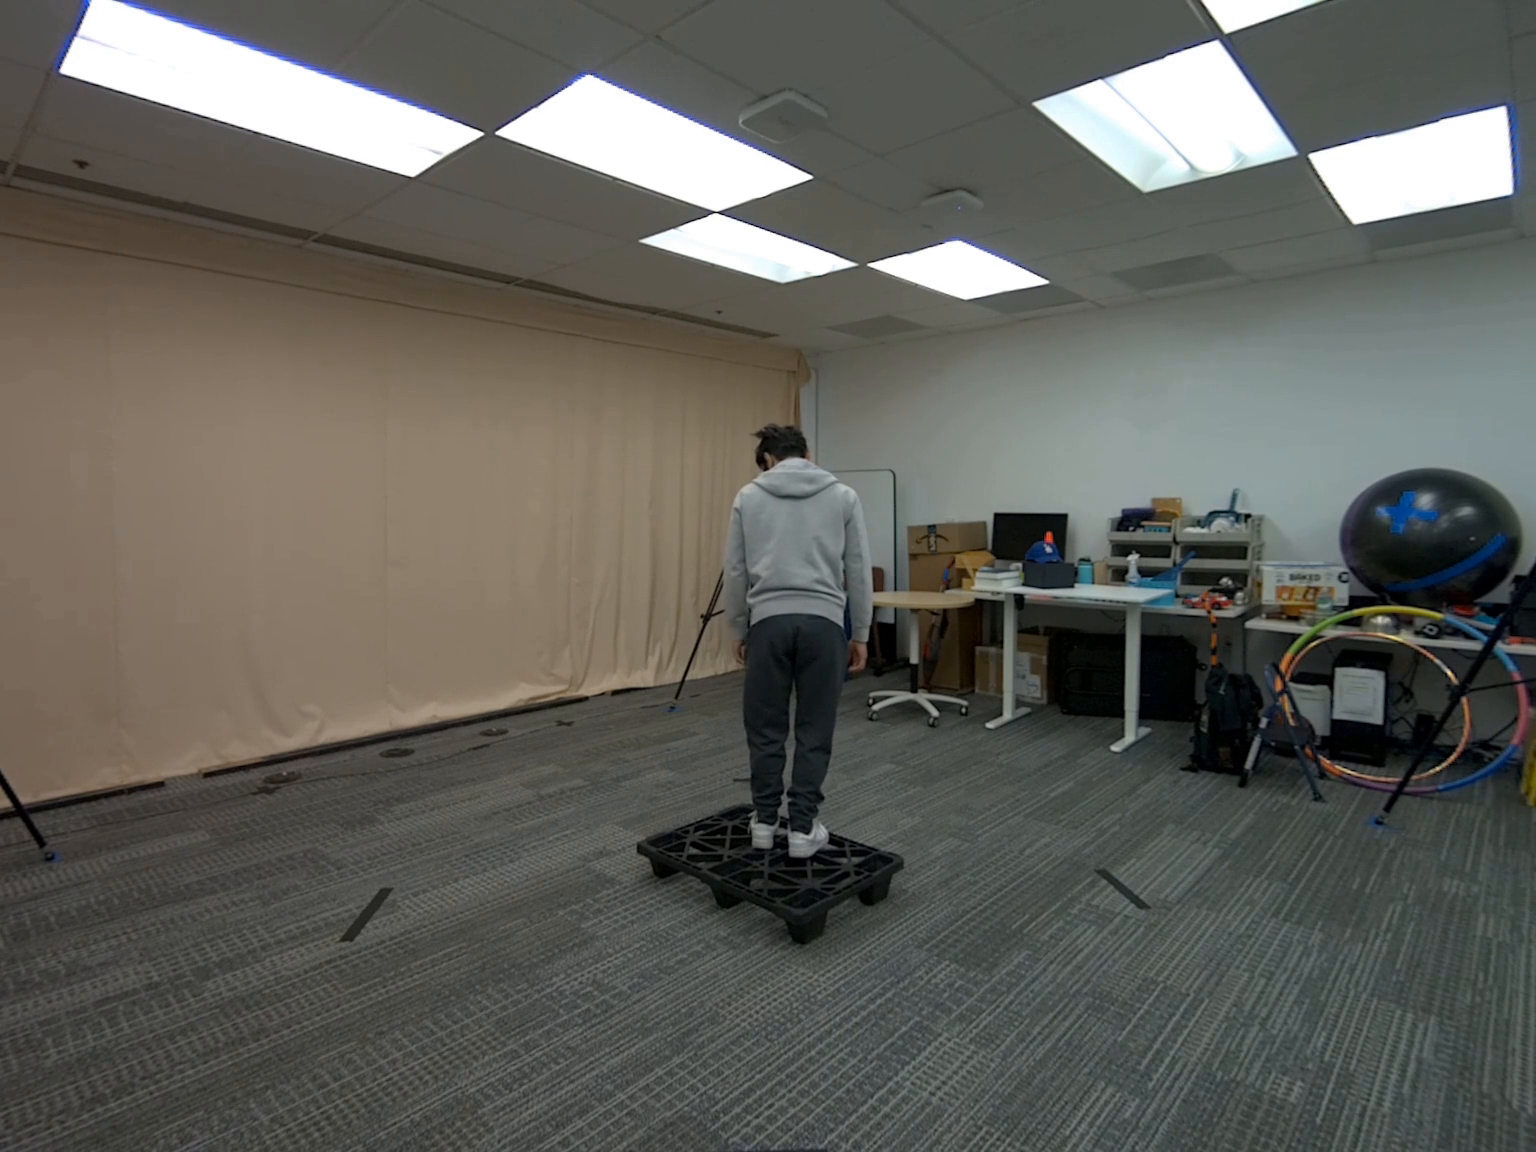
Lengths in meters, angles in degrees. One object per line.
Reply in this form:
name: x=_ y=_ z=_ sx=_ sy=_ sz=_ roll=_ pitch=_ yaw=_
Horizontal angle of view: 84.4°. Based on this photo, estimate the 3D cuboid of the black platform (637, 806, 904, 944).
black platform: x=0.000 y=1.068 z=3.081 sx=0.832 sy=0.143 sz=0.587 roll=4 pitch=7 yaw=44
